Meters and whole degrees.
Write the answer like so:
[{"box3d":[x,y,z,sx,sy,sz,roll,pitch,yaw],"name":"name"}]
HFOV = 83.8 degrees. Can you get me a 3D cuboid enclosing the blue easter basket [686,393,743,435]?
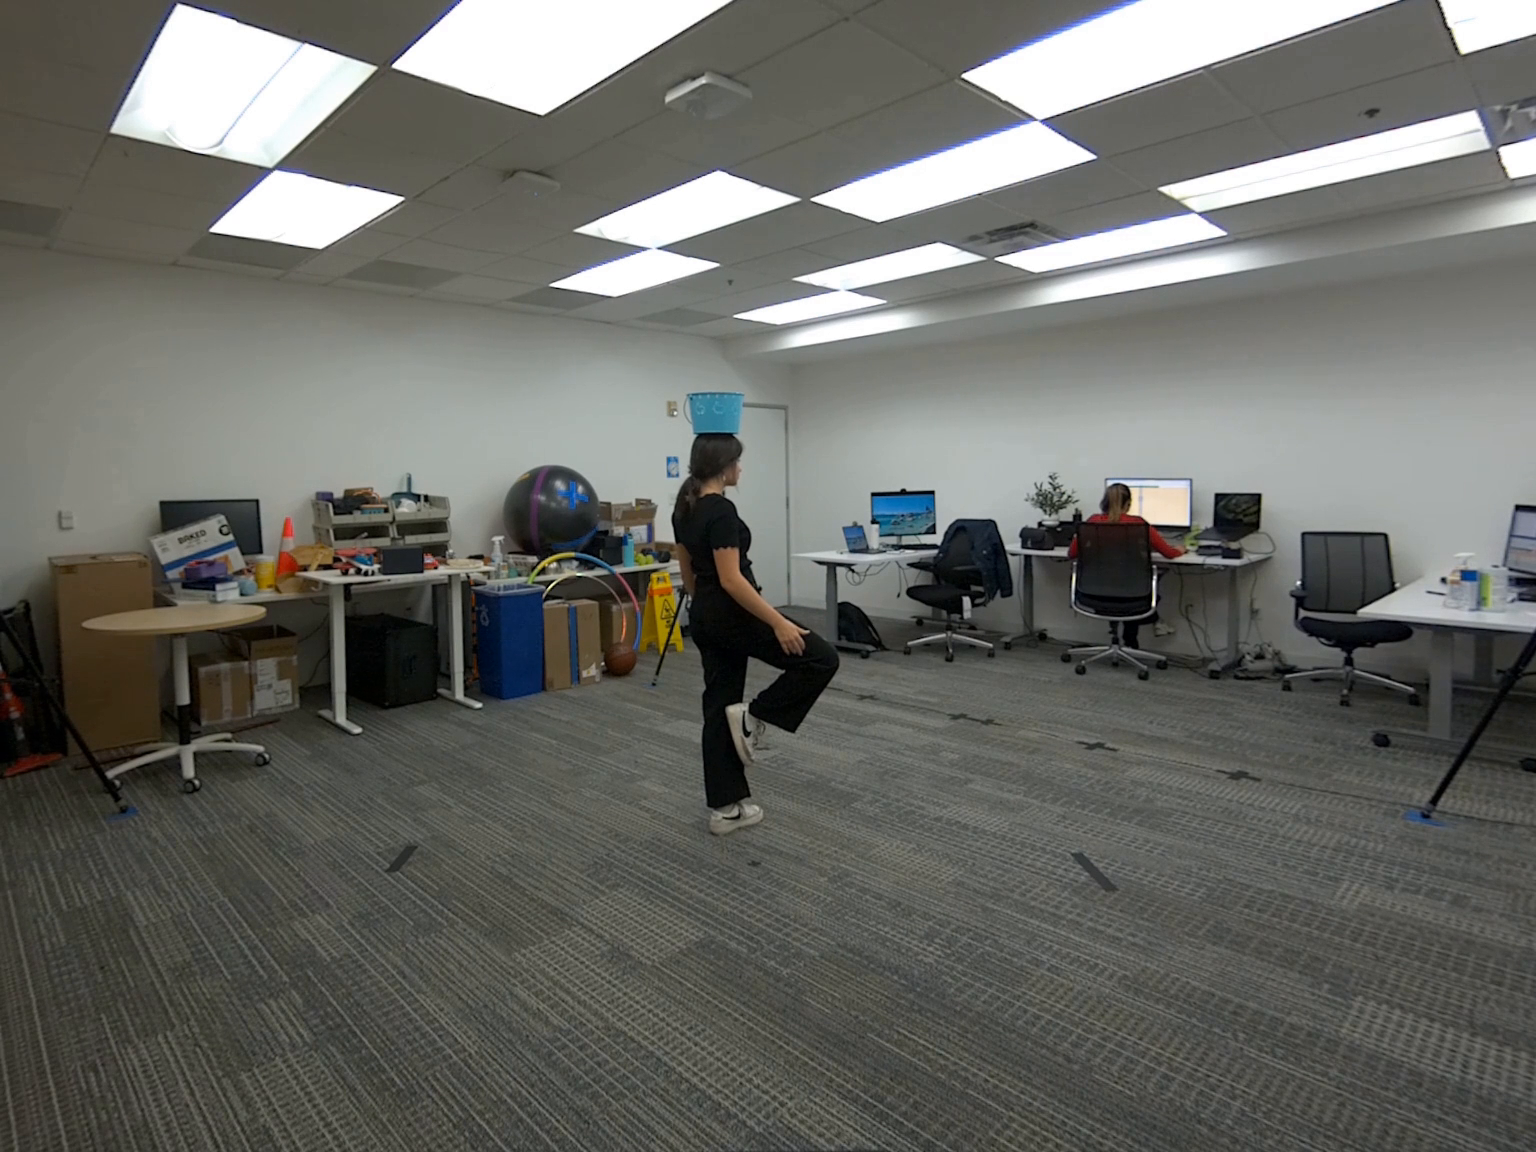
[{"box3d":[-0.213,-0.639,3.363,0.243,0.155,0.245,0,5,-2],"name":"blue easter basket"}]
